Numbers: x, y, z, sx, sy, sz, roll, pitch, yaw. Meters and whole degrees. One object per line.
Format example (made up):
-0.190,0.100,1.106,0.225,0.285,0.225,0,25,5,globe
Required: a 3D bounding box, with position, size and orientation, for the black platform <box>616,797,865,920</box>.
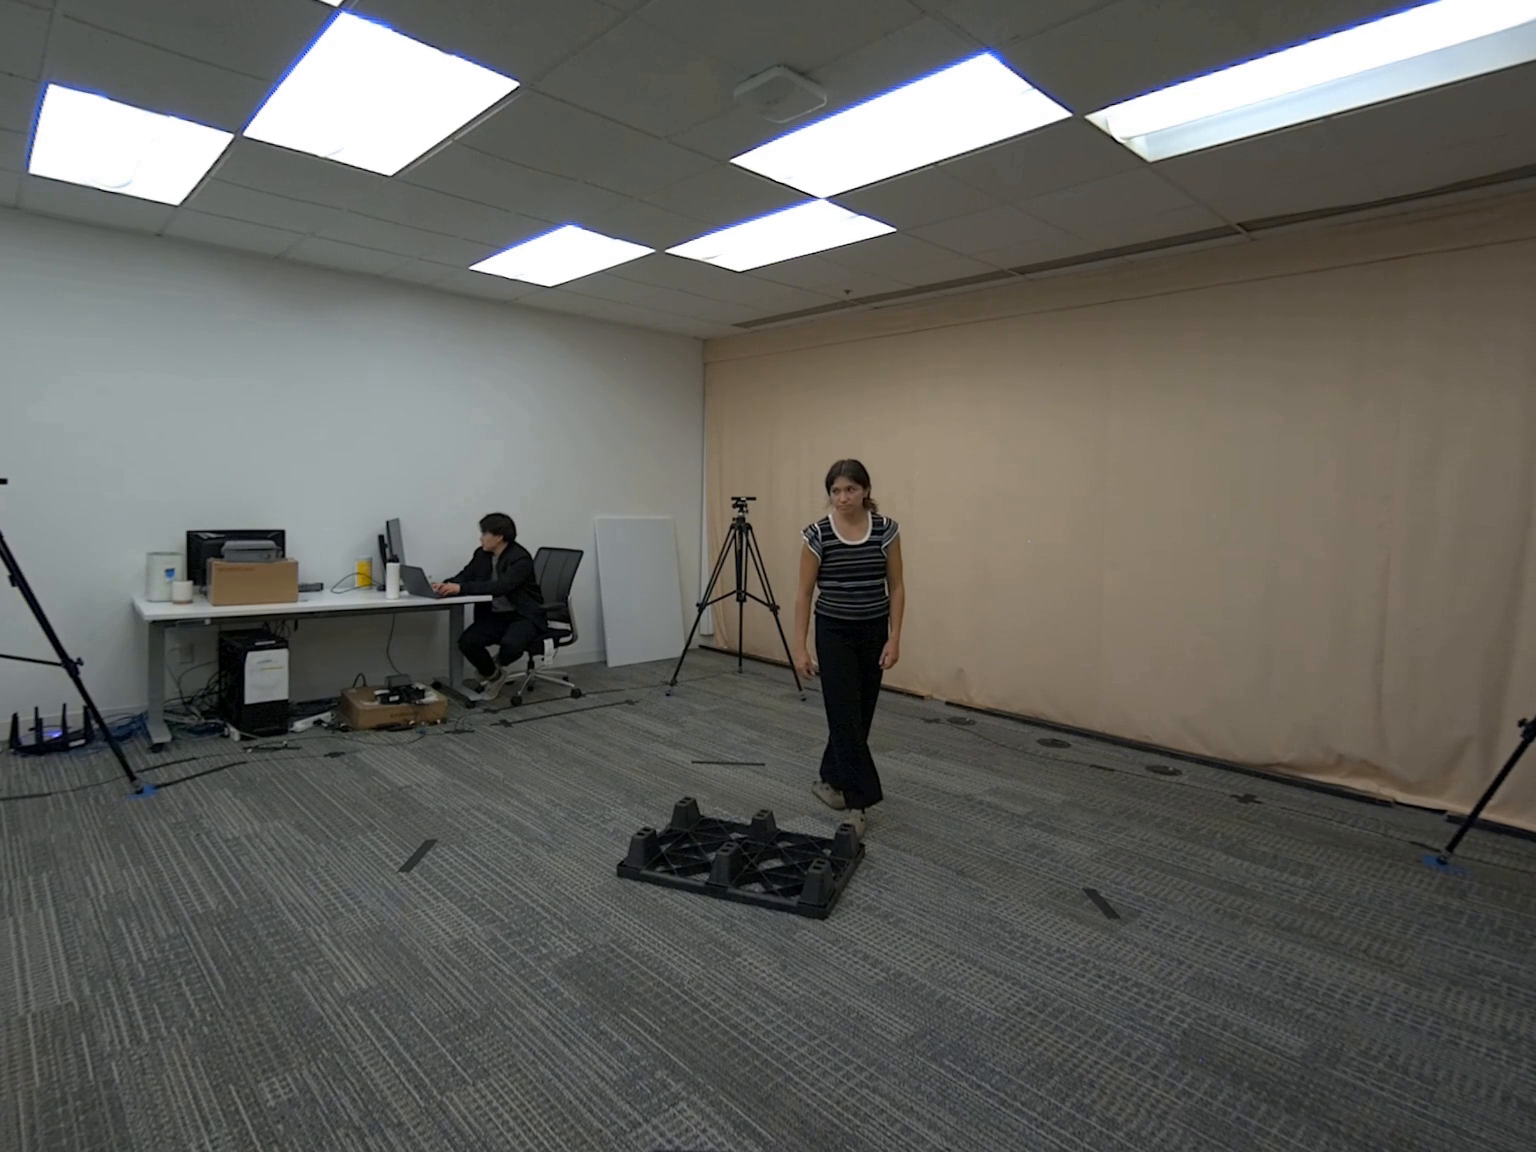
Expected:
-0.089,1.032,3.204,0.819,0.143,0.597,3,6,21,black platform
